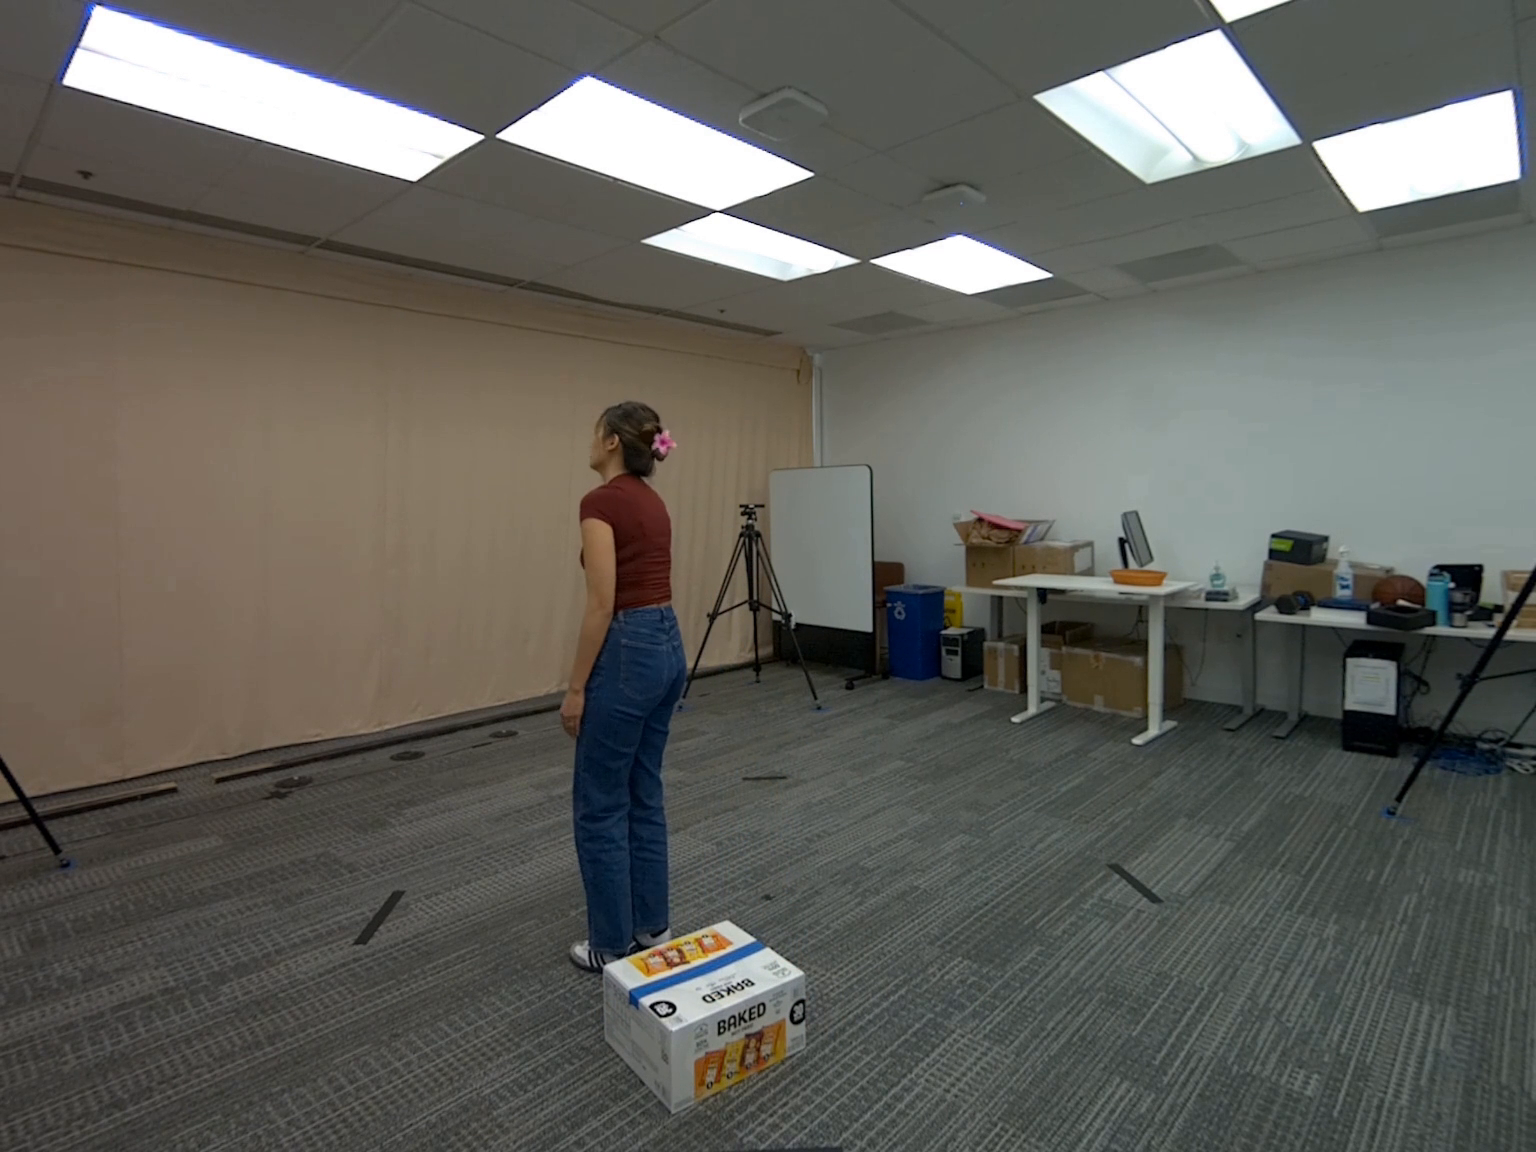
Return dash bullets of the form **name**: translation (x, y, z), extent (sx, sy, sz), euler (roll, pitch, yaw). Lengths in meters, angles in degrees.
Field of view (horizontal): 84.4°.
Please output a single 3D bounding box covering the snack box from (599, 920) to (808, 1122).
- **snack box**: translation (-0.167, 1.102, 2.158), extent (0.393, 0.205, 0.351), euler (-4, 5, -37)
